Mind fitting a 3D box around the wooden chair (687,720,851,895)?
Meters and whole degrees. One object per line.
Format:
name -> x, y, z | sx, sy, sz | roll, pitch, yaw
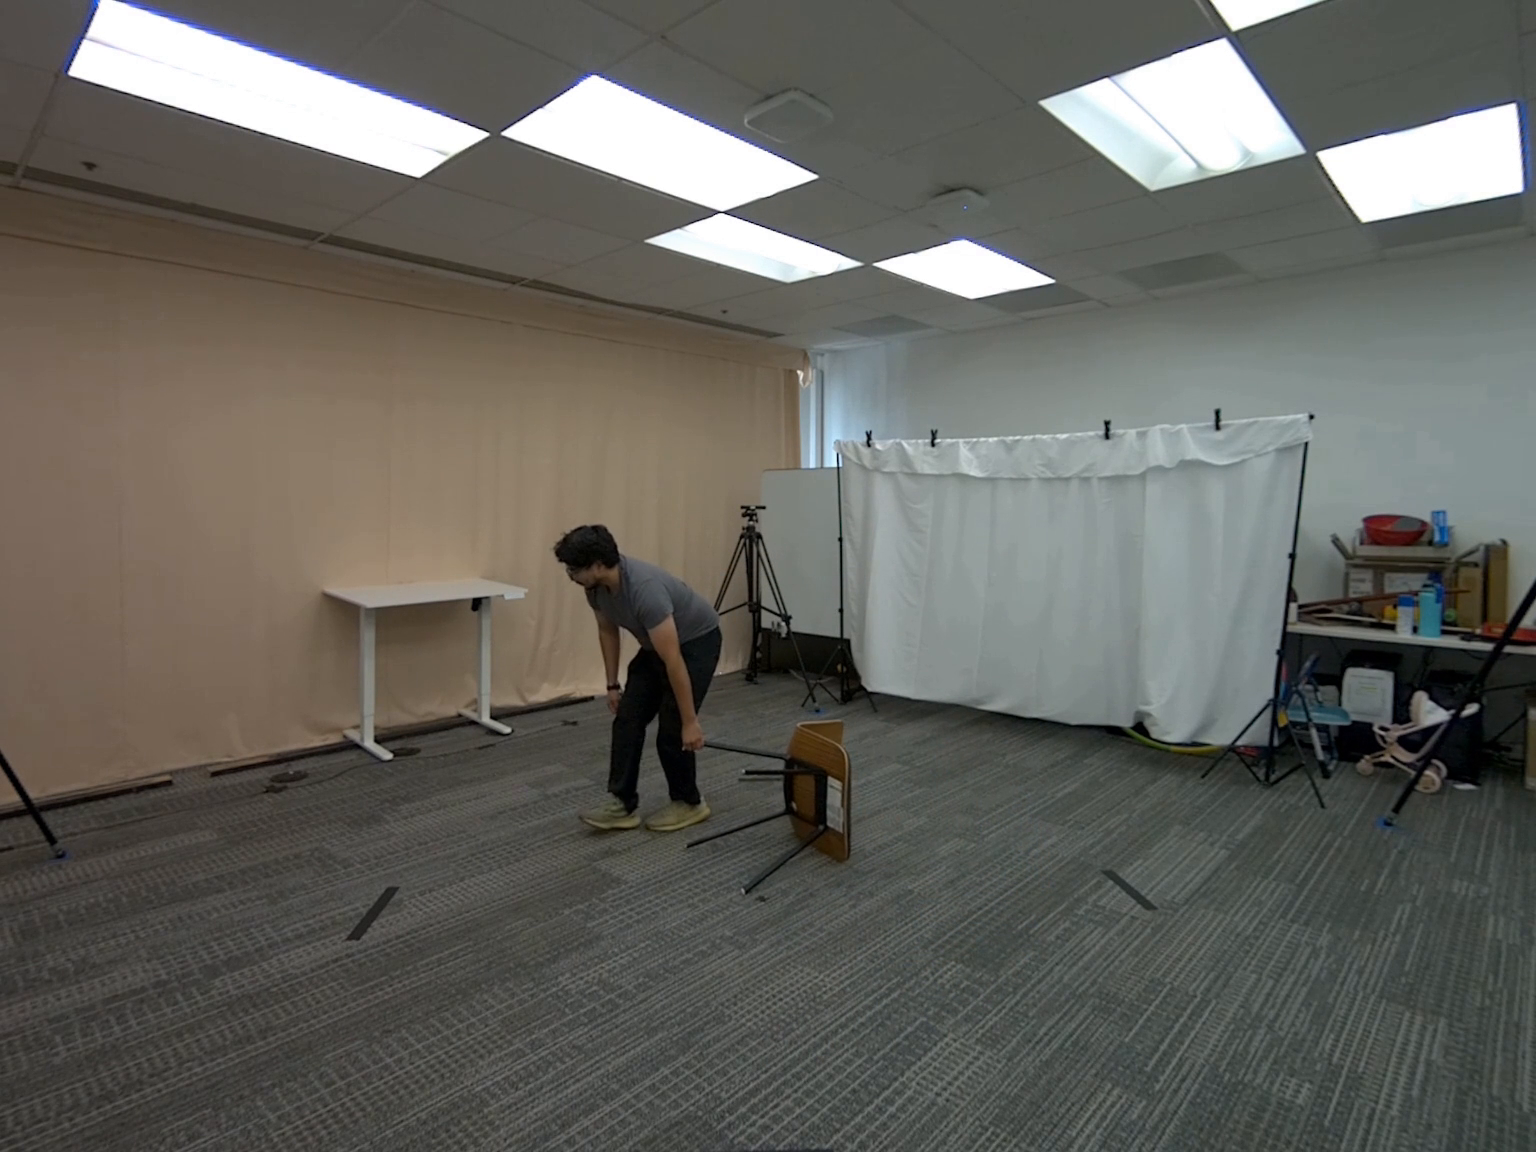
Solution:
wooden chair -> 0.151, 0.878, 3.388 | 0.852, 0.477, 0.540 | -3, 6, -36
